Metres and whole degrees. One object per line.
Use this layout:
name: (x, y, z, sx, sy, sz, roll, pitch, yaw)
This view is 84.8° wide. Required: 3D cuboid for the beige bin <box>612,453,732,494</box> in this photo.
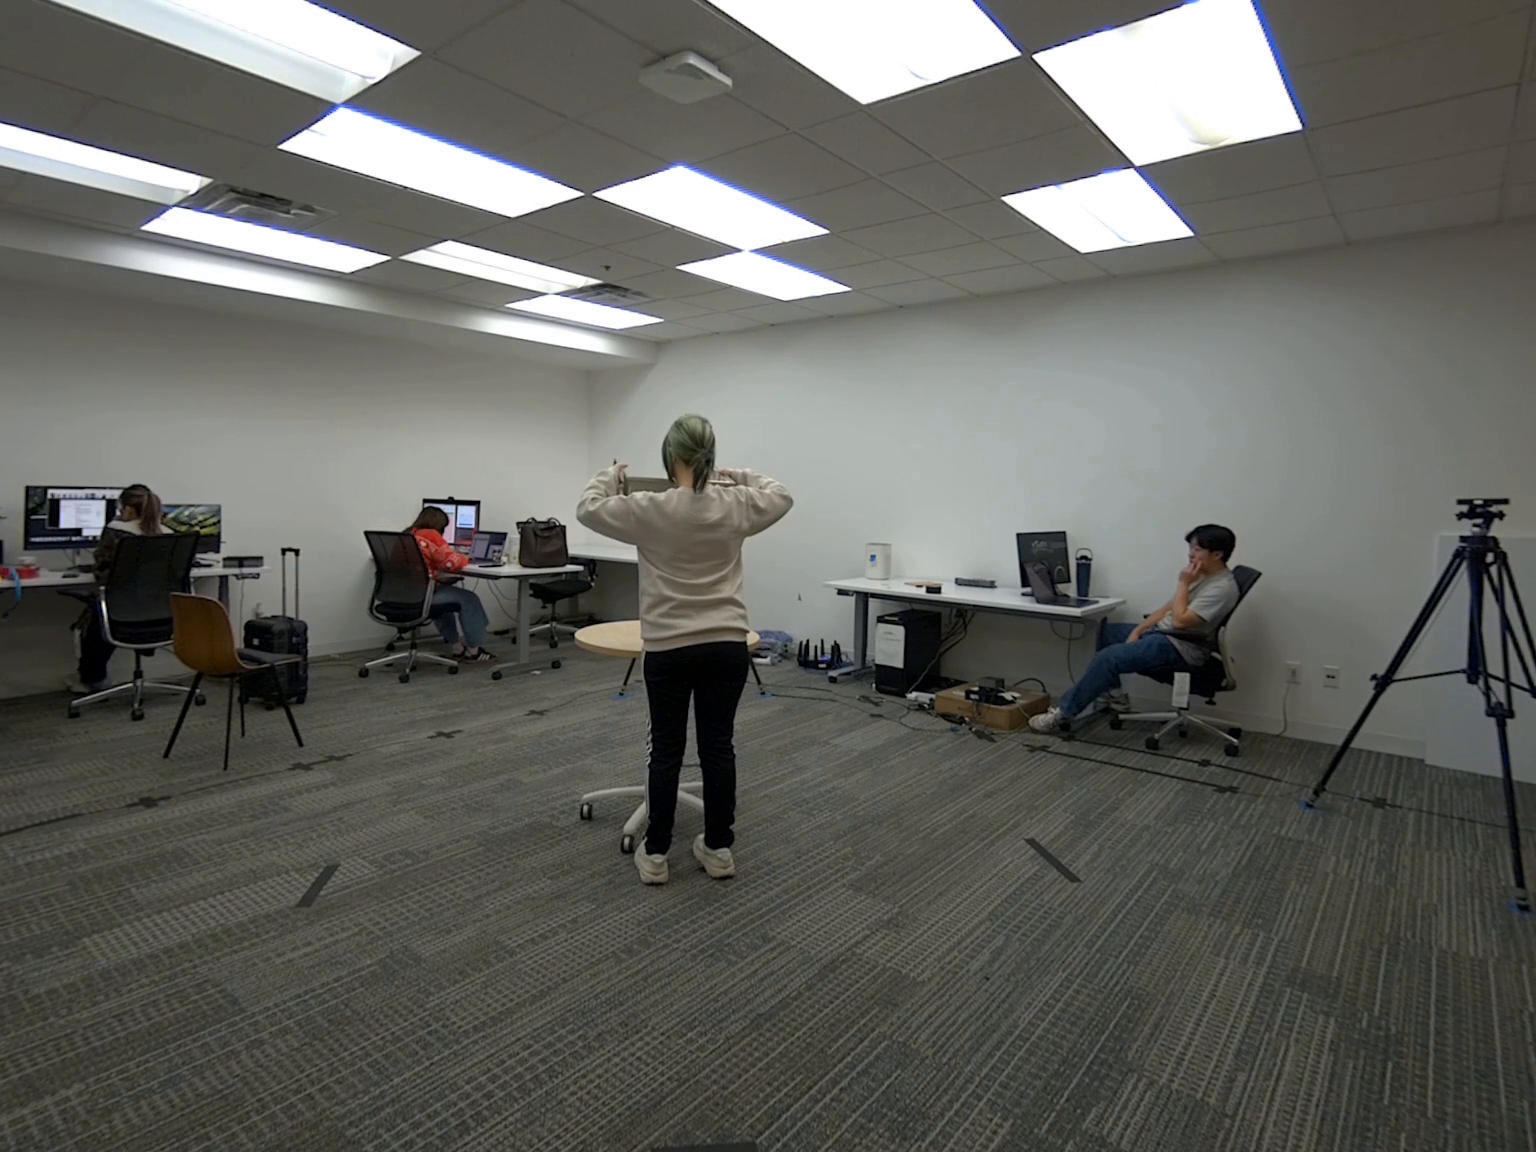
beige bin: (-0.403, -0.343, 3.413, 0.414, 0.186, 0.390, 3, 20, -19)
